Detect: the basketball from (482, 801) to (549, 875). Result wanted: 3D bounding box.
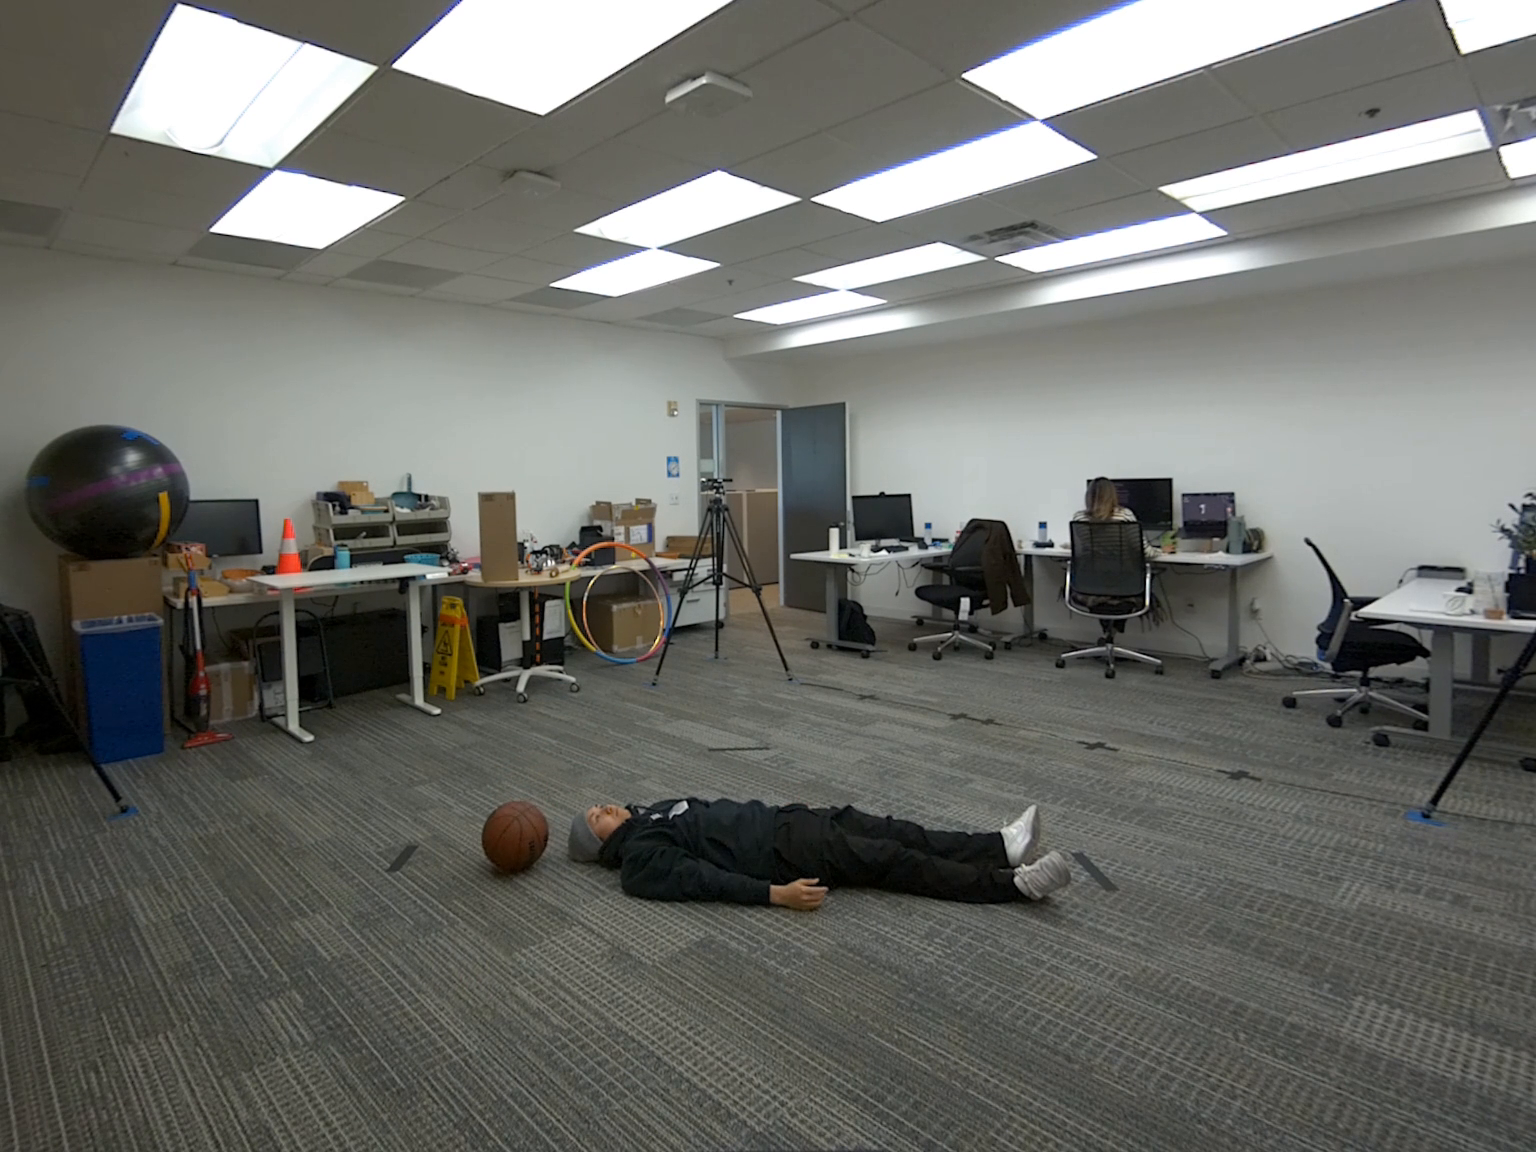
[{"bbox_3d":[-0.911,0.941,3.104,0.236,0.235,0.237,-1,5,-2],"label":"basketball"}]
